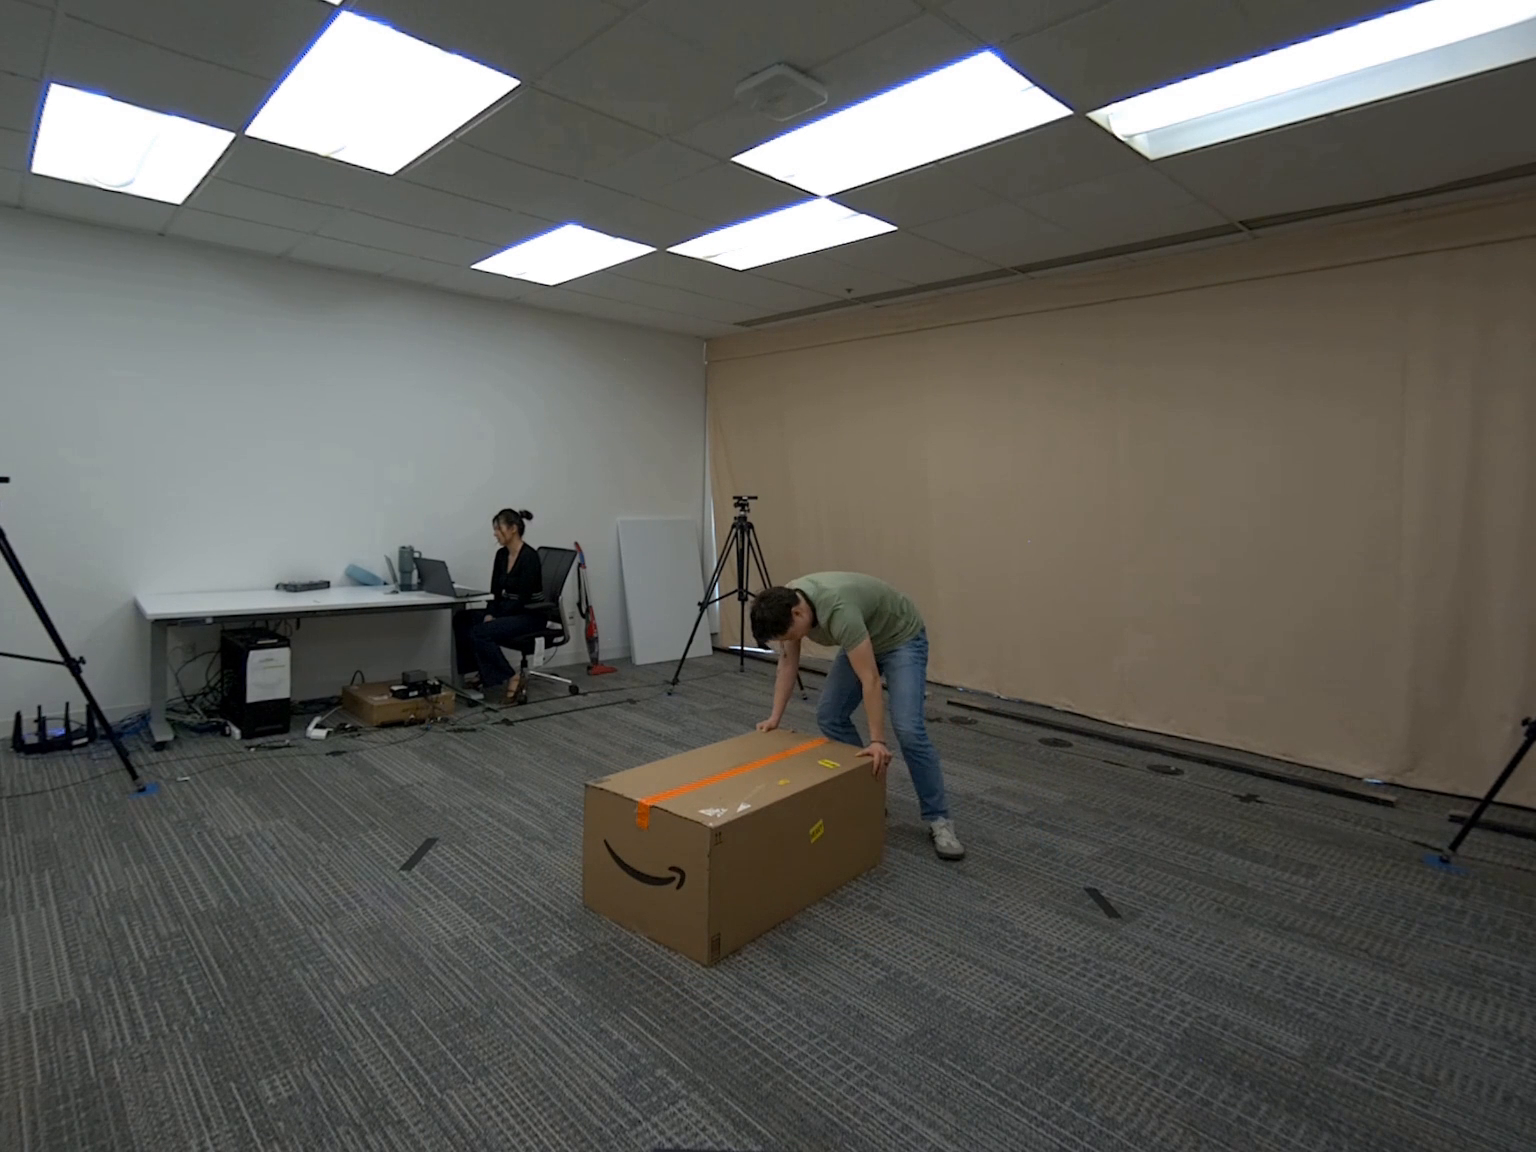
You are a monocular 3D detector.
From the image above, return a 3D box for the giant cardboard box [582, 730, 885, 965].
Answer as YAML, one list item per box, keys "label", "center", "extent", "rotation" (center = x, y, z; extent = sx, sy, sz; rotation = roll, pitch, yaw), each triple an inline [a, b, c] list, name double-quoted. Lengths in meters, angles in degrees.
- label: "giant cardboard box"
  center: [-0.095, 0.898, 3.037]
  extent: [0.592, 0.425, 1.003]
  rotation: [6, 6, 38]
